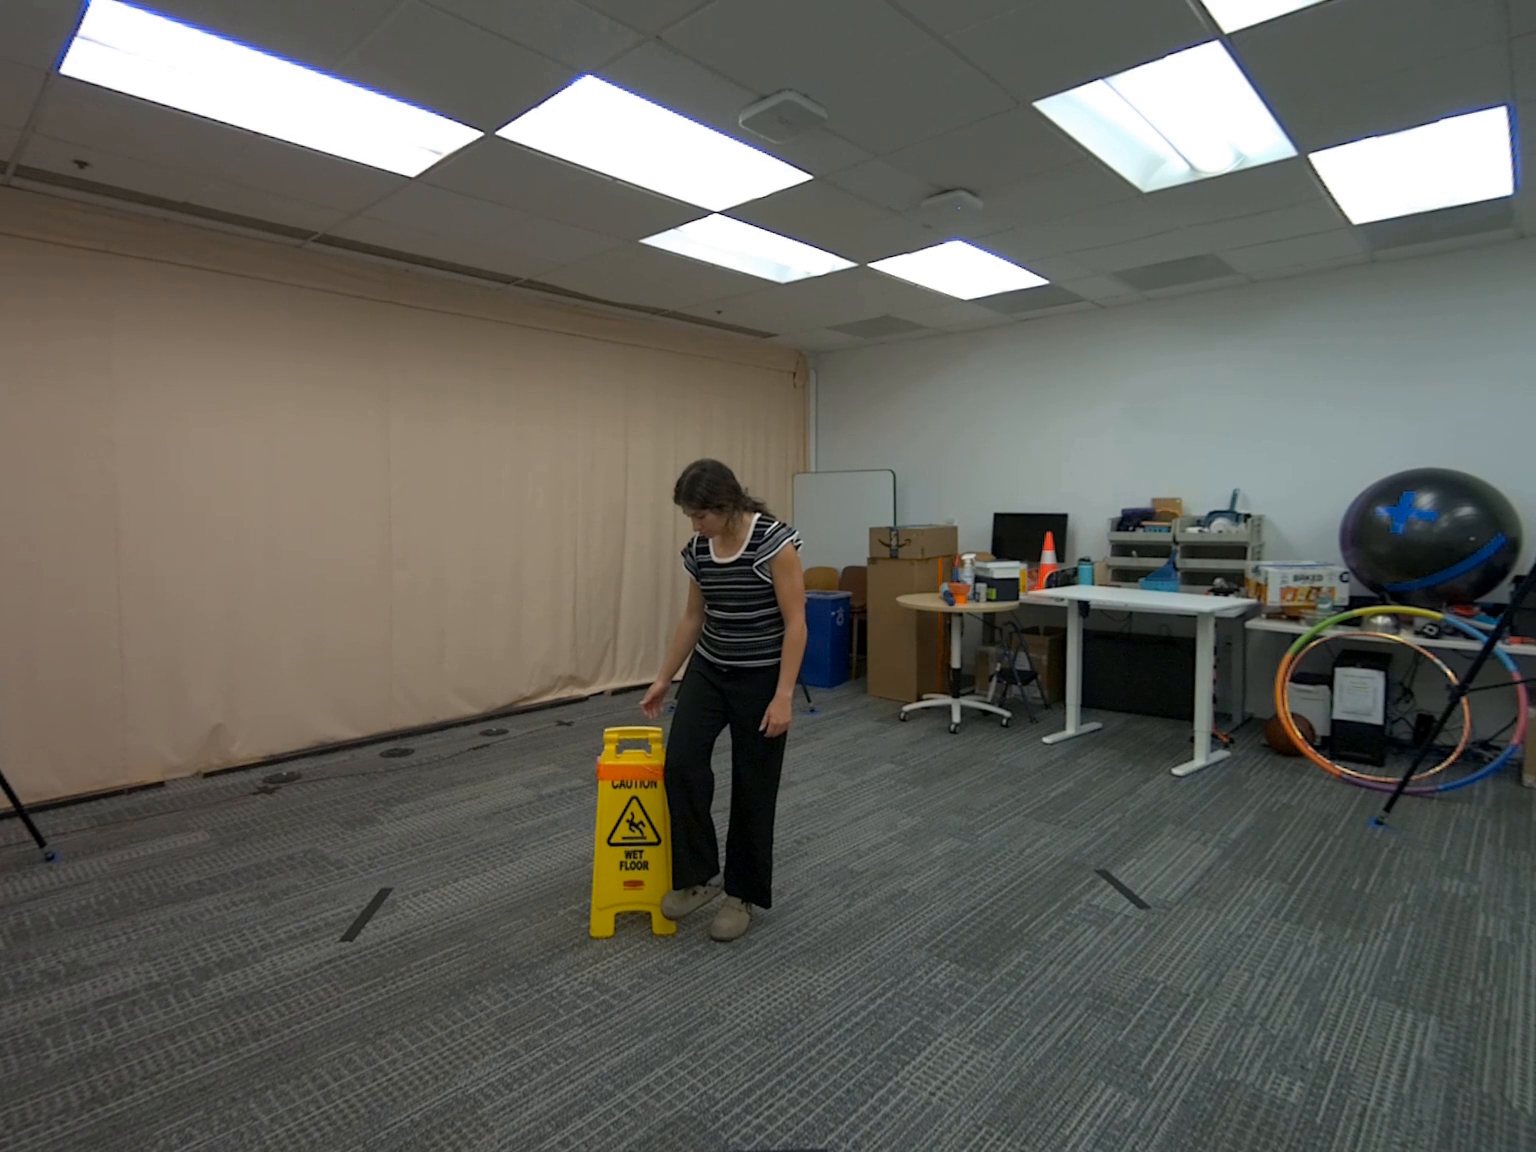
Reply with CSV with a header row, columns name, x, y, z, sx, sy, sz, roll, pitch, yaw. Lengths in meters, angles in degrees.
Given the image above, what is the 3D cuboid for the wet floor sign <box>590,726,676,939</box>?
name,x,y,z,sx,sy,sz,roll,pitch,yaw
wet floor sign,-0.449,0.836,2.832,0.282,0.645,0.290,1,1,-2
